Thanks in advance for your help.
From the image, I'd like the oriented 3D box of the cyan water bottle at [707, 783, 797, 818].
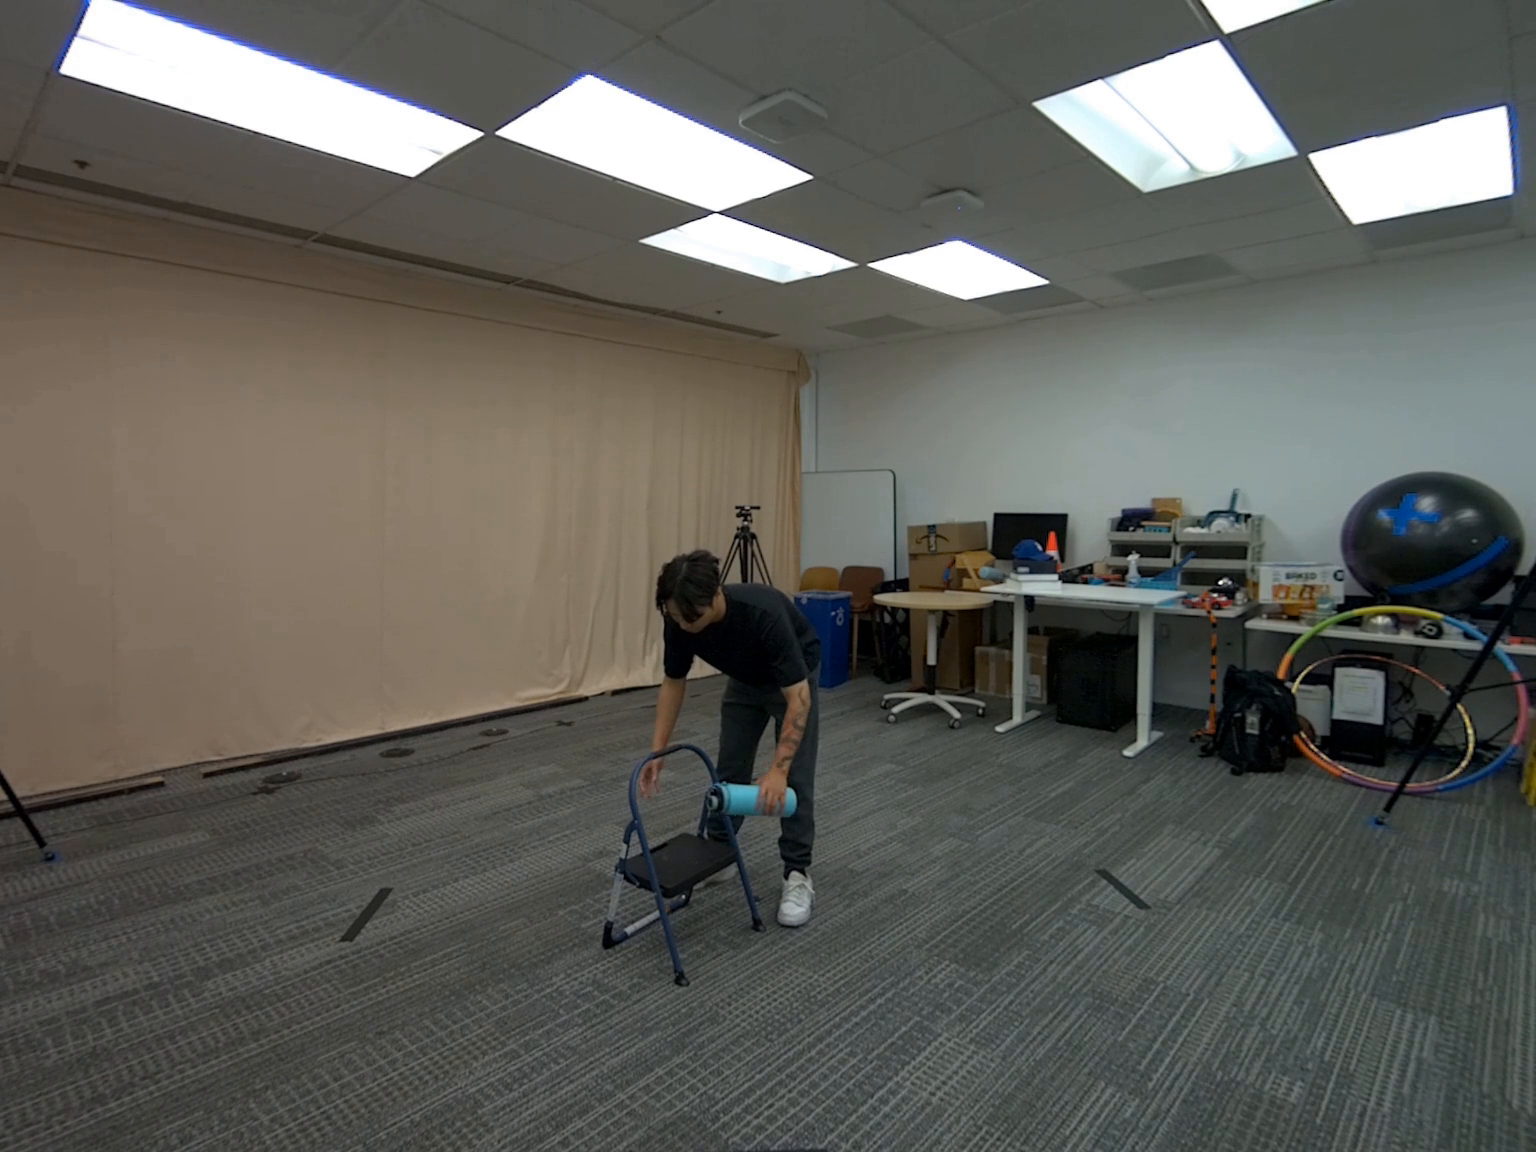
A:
[{"bbox_3d":[-0.059,0.678,2.579,0.275,0.092,0.095,10,-2,-29],"label":"cyan water bottle"}]
